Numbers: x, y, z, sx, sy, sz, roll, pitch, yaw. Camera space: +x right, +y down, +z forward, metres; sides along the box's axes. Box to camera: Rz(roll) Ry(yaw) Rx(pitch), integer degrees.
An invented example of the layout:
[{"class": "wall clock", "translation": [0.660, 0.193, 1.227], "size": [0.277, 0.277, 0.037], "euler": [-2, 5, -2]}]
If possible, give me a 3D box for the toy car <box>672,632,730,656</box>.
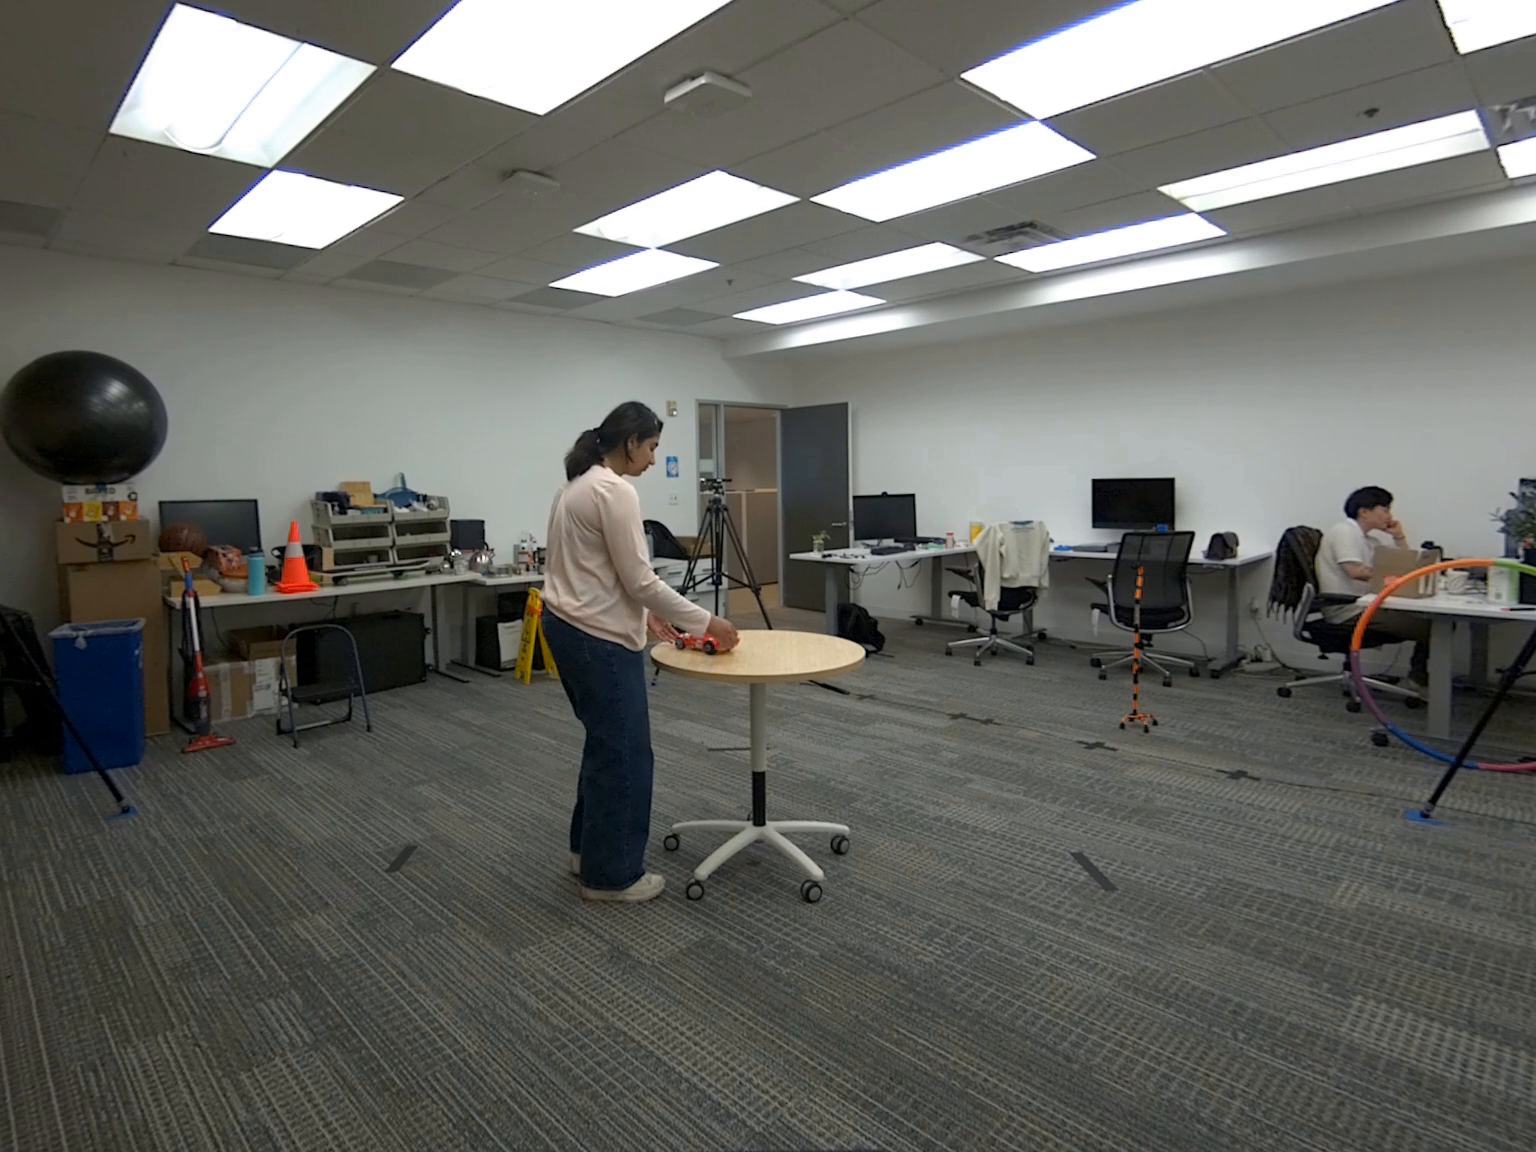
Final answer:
[{"class": "toy car", "translation": [-0.212, 0.235, 3.057], "size": [0.260, 0.083, 0.127], "euler": [-9, -1, 40]}]
